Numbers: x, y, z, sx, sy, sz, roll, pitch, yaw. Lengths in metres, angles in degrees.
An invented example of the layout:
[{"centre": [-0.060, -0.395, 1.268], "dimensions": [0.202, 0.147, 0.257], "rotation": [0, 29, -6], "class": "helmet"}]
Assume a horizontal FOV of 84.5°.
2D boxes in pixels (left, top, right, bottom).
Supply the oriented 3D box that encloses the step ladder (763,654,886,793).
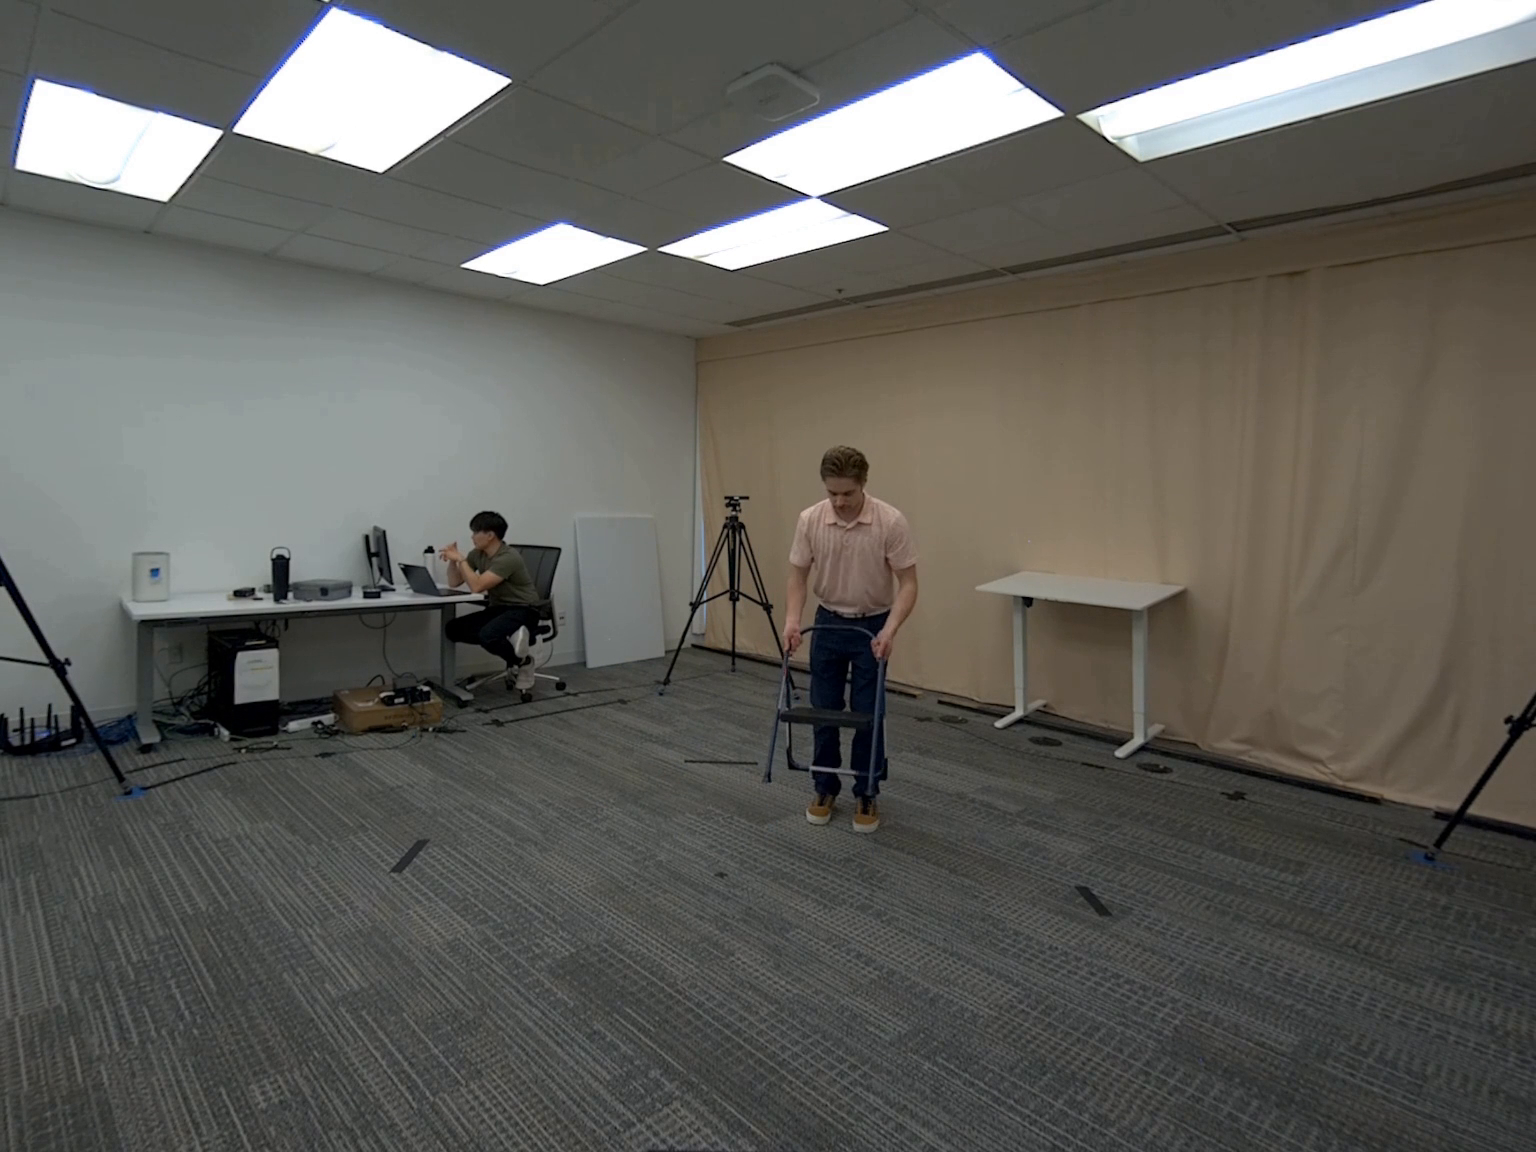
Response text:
[{"centre": [0.244, 0.511, 3.320], "dimensions": [0.437, 0.608, 0.342], "rotation": [1, -5, 20], "class": "step ladder"}]
